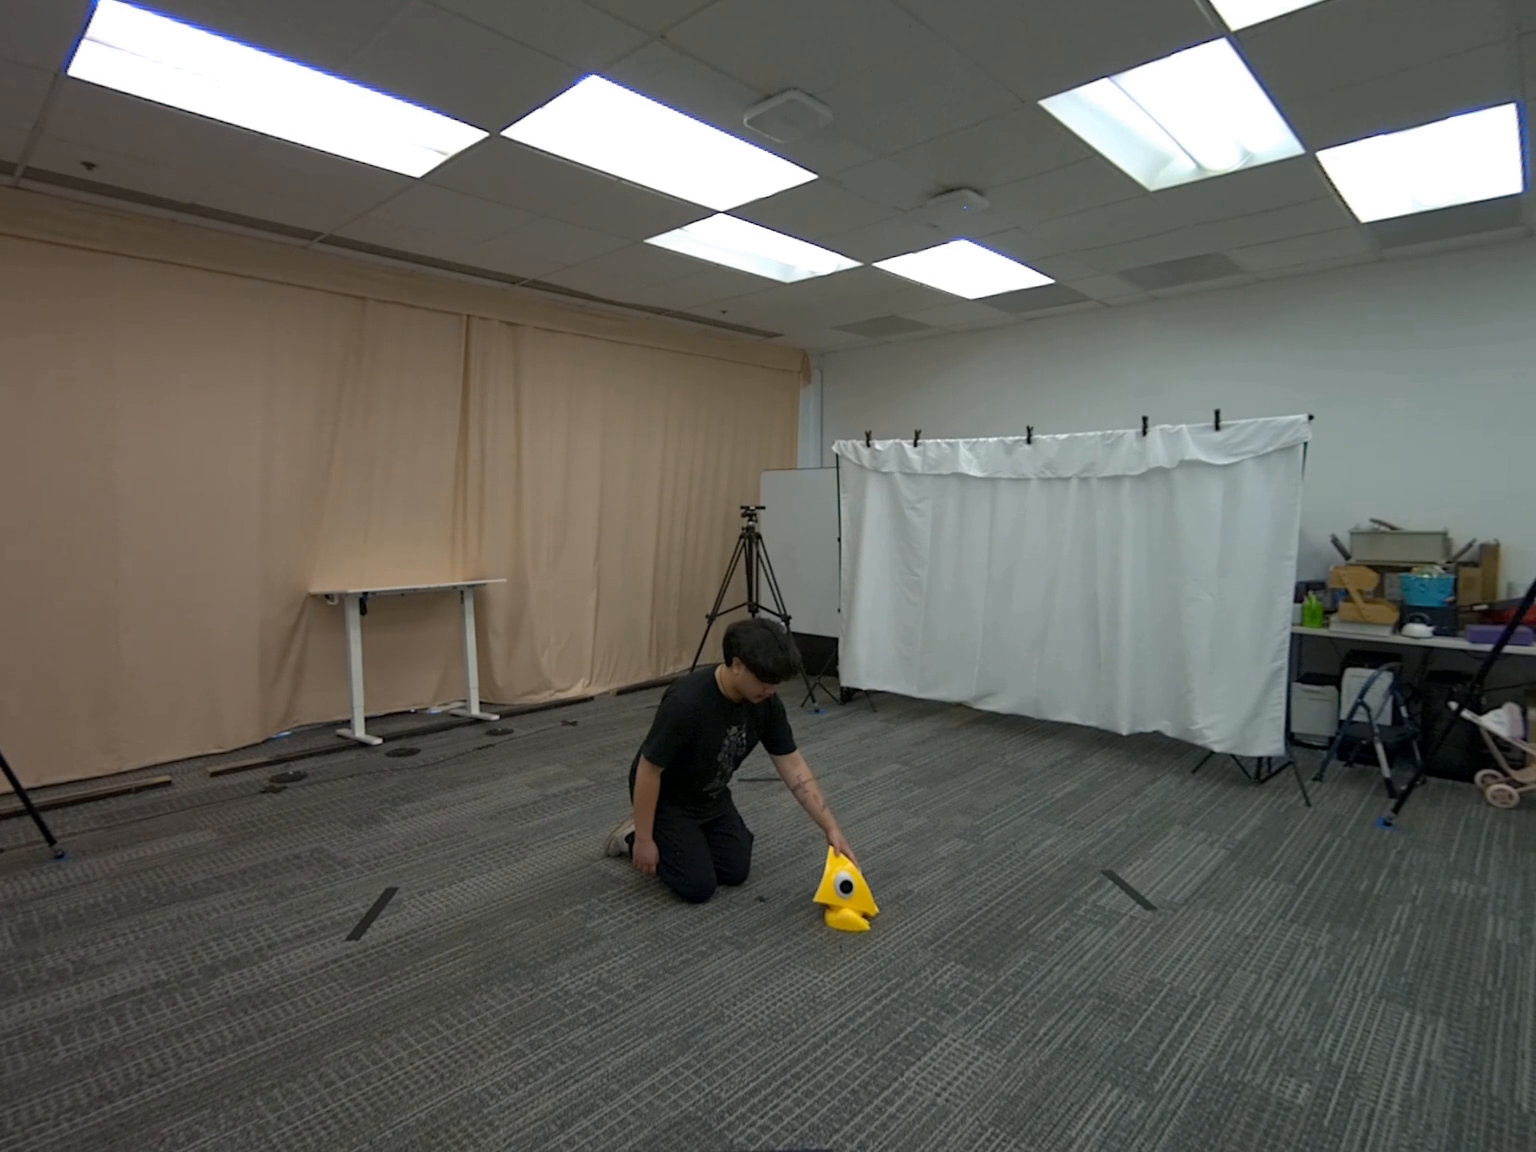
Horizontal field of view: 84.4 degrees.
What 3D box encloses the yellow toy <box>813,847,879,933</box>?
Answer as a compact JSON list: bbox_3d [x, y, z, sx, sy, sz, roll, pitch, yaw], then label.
[{"bbox_3d":[0.276,1.042,2.852,0.198,0.230,0.200,0,4,23],"label":"yellow toy"}]
